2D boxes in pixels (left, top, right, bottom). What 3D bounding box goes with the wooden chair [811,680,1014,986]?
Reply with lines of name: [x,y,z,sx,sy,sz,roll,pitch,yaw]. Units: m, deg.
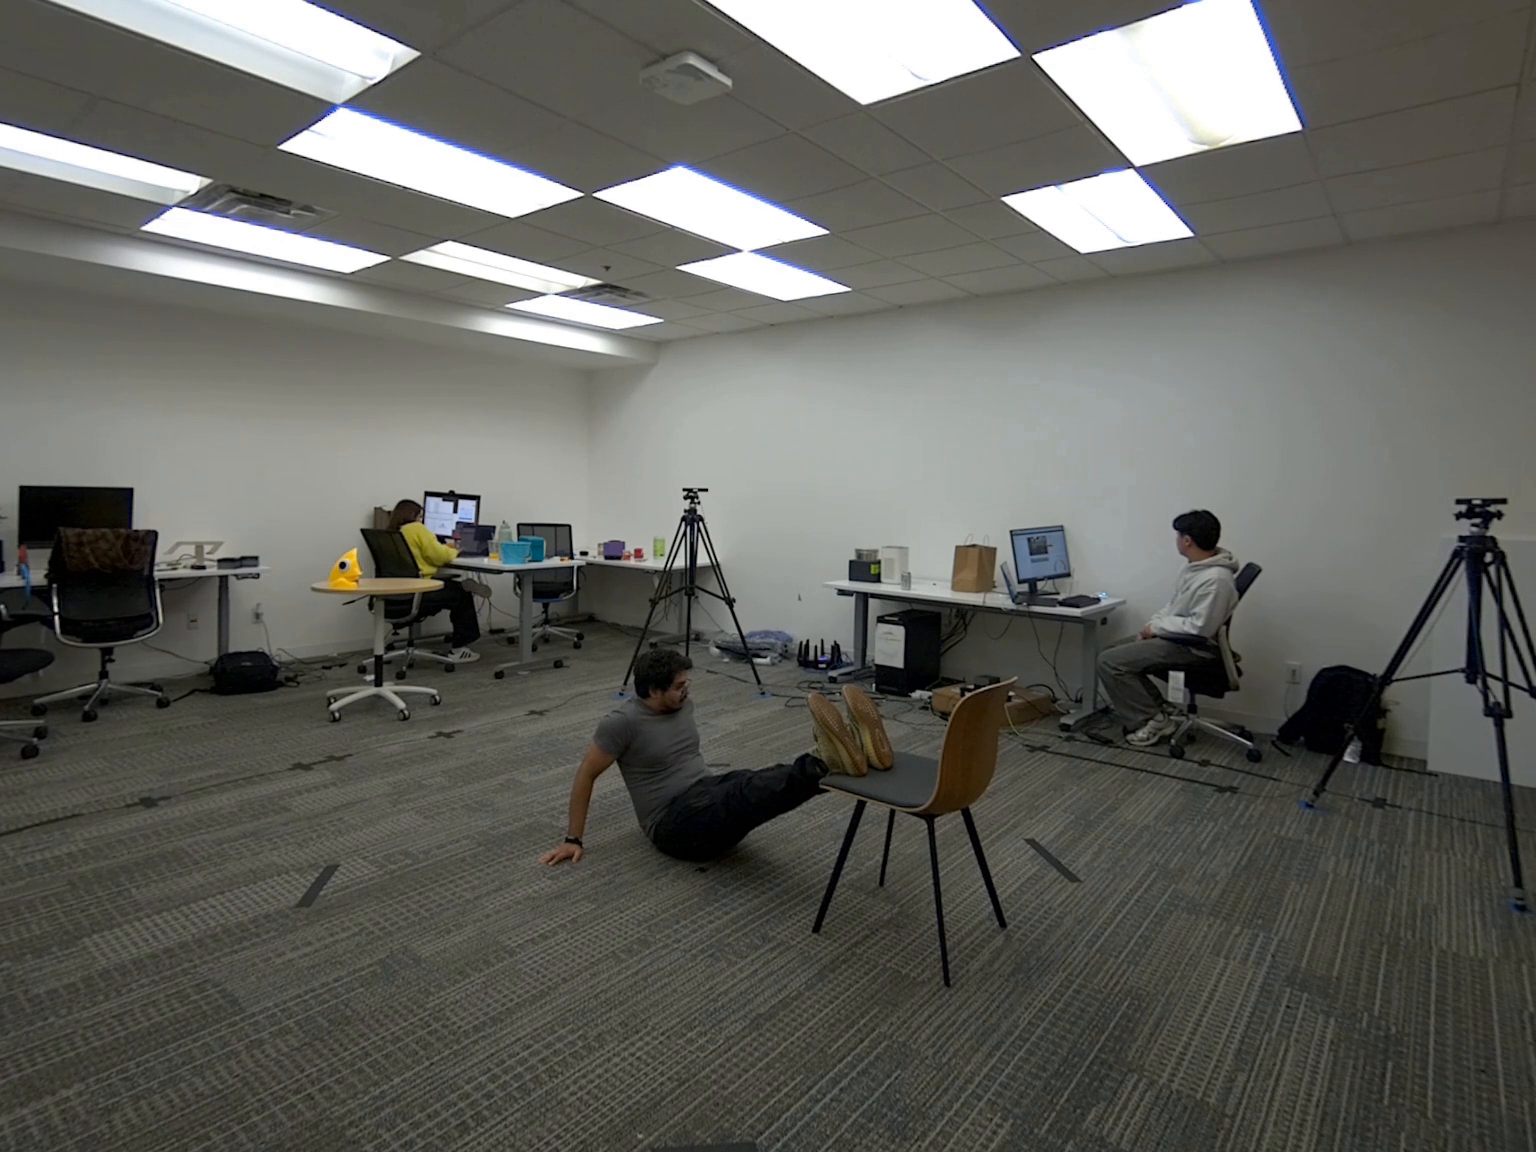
wooden chair: [0.454,0.701,2.690,0.541,0.873,0.464,9,7,37]
